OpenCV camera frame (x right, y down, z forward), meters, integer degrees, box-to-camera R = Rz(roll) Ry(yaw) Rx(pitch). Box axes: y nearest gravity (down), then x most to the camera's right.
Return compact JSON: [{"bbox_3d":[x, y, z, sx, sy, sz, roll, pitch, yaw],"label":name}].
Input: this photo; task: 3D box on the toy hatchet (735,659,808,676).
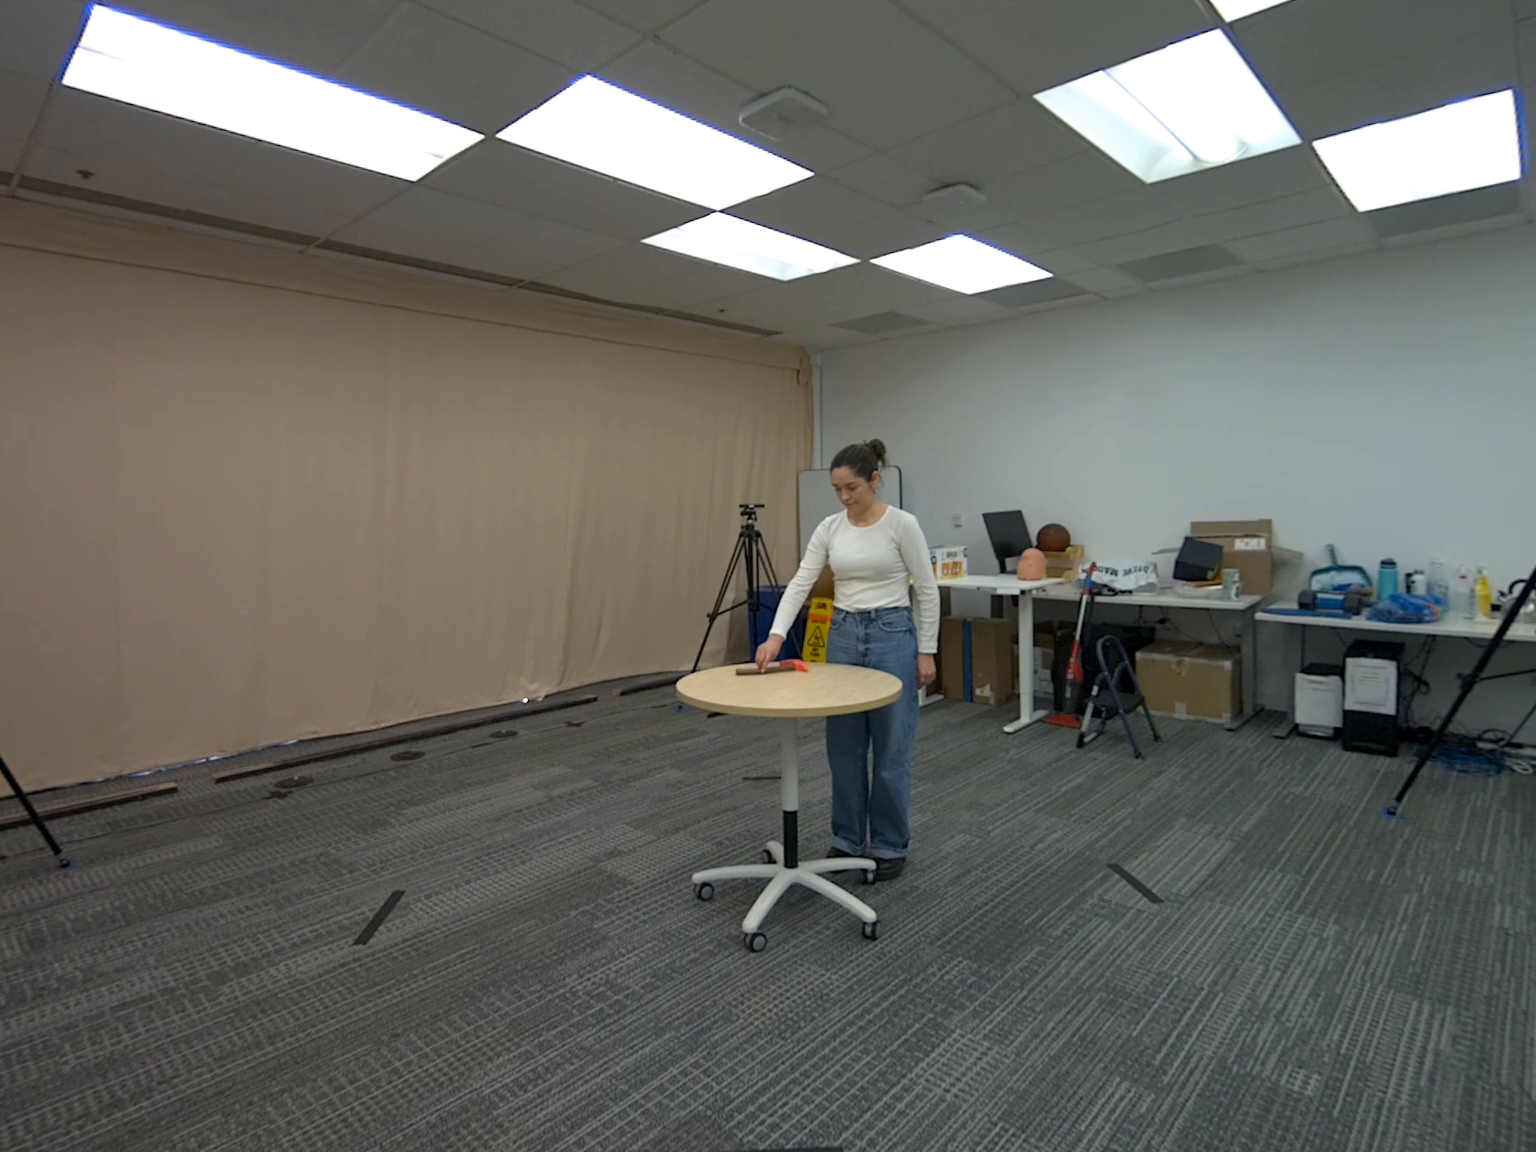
[{"bbox_3d":[0.006,0.336,3.087,0.268,0.029,0.133,-2,12,-7],"label":"toy hatchet"}]
